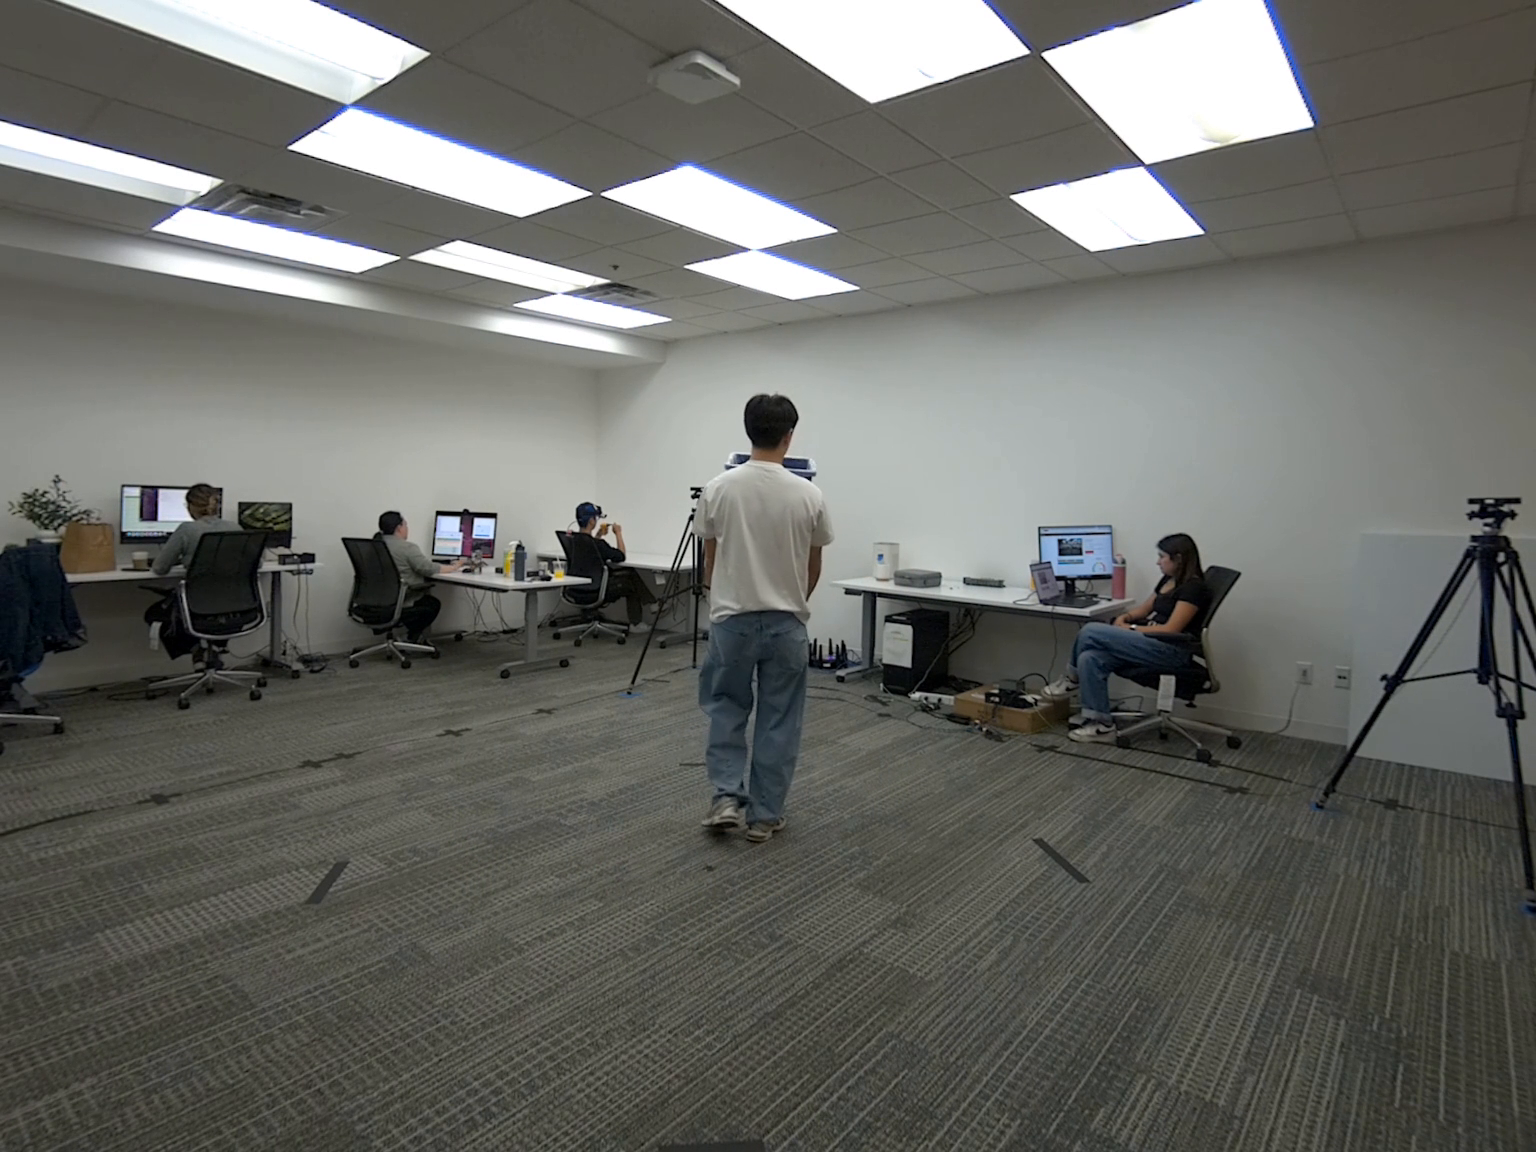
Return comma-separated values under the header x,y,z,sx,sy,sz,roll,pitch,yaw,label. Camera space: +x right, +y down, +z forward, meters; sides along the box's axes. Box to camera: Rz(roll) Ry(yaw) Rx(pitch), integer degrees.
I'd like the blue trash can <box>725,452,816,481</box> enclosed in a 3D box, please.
x,y,z,sx,sy,sz,roll,pitch,yaw,label
-0.016,-0.142,3.607,0.375,0.704,0.382,4,15,1,blue trash can
